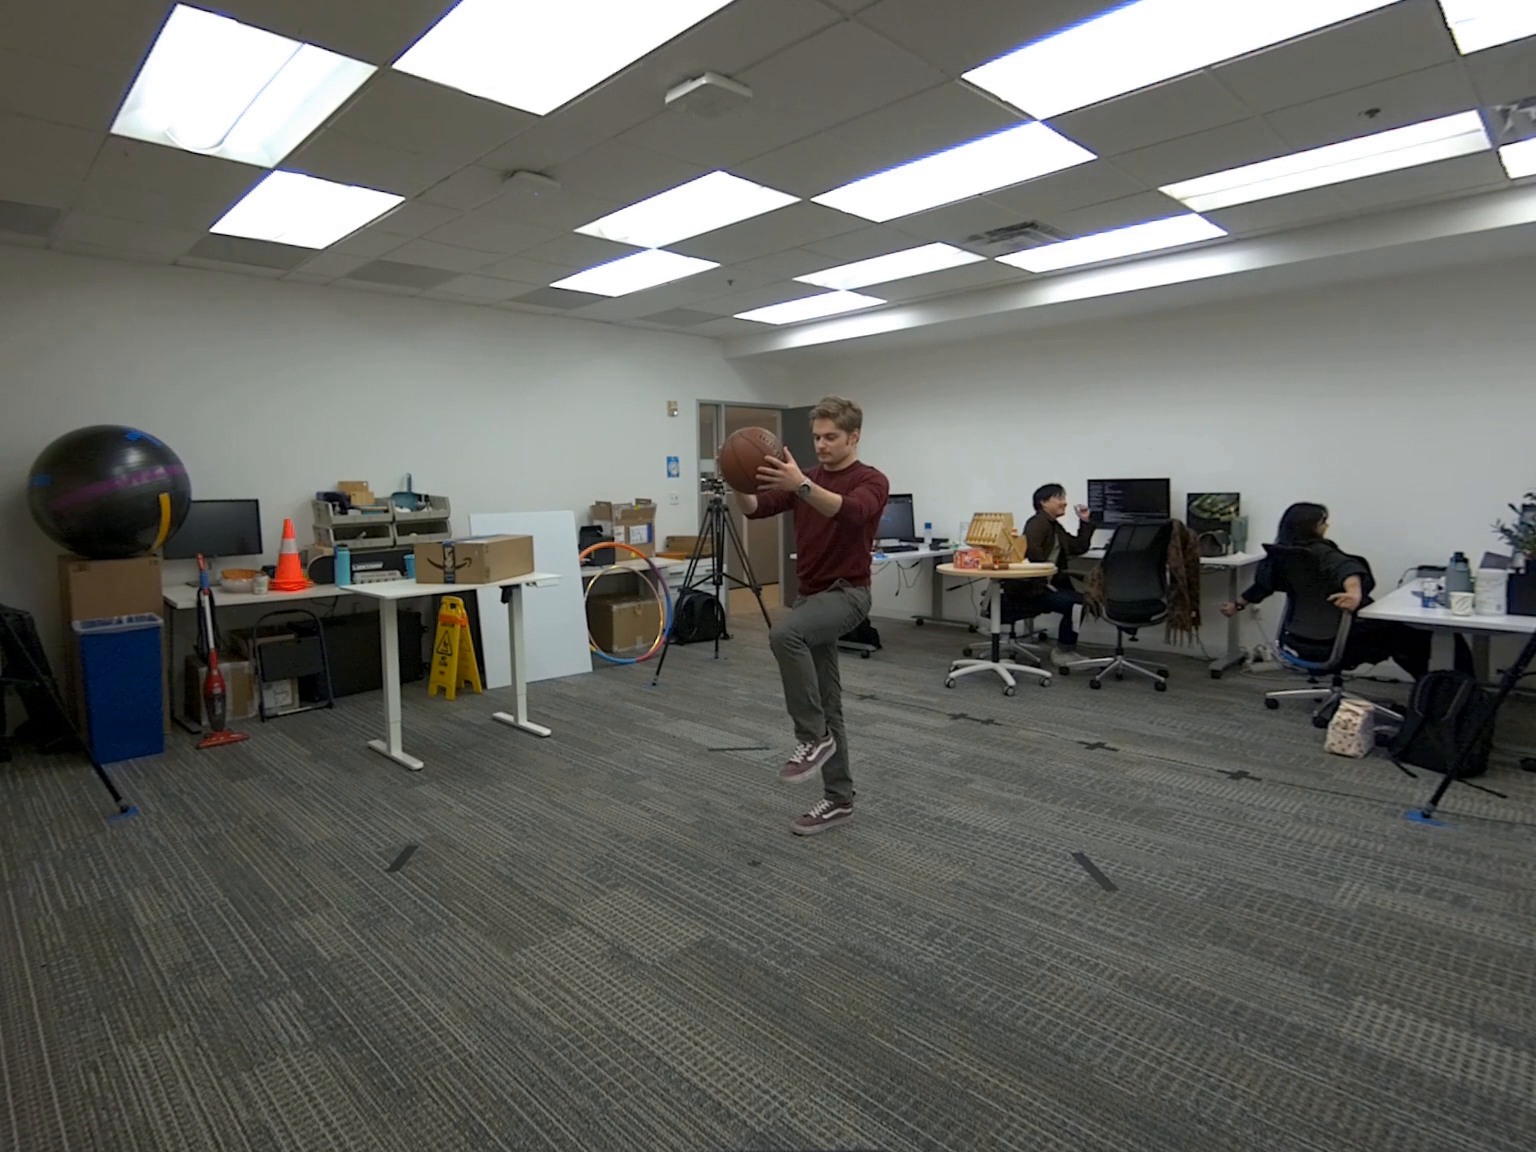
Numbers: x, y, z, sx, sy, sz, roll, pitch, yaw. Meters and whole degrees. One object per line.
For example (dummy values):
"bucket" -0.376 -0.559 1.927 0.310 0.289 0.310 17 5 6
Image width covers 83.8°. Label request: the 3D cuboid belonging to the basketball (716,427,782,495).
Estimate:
"basketball" -0.061 -0.409 3.028 0.236 0.235 0.237 -1 5 -2
